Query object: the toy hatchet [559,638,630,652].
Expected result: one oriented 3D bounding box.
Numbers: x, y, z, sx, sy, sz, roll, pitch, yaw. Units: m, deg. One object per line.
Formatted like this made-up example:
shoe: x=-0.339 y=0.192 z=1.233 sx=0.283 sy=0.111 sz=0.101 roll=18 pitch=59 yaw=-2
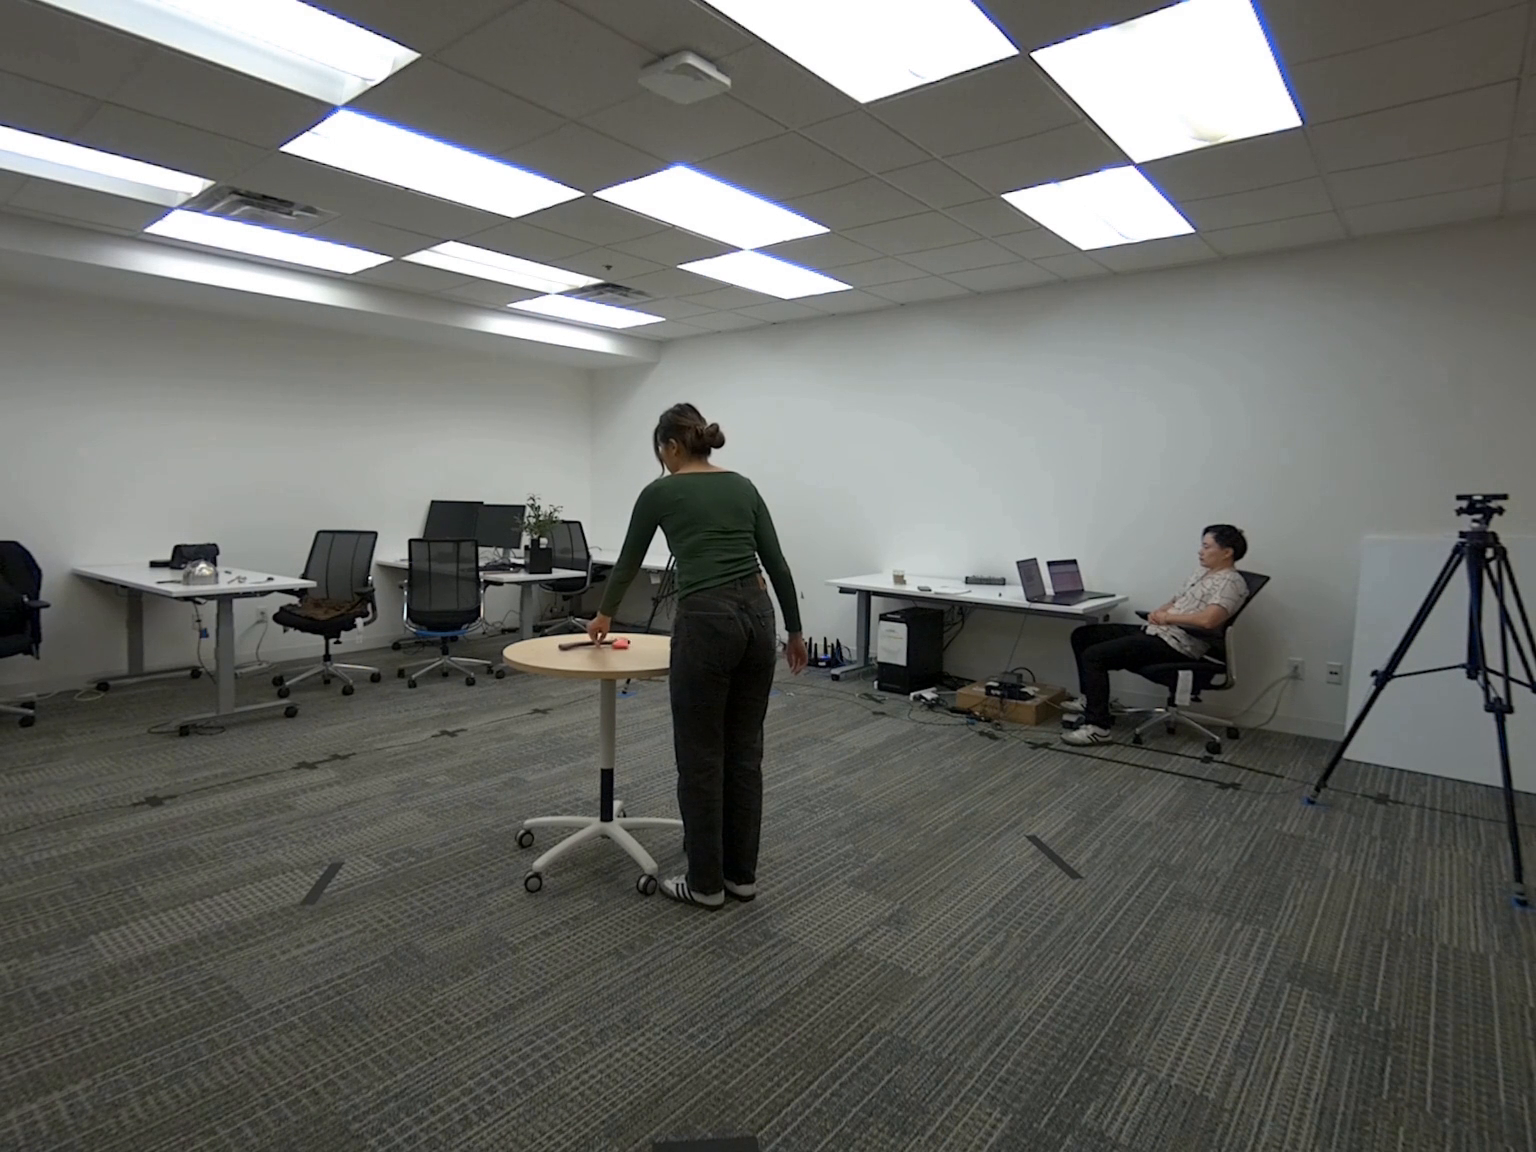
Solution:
toy hatchet: x=-0.658 y=0.259 z=3.180 sx=0.262 sy=0.029 sz=0.136 roll=-7 pitch=13 yaw=-38
